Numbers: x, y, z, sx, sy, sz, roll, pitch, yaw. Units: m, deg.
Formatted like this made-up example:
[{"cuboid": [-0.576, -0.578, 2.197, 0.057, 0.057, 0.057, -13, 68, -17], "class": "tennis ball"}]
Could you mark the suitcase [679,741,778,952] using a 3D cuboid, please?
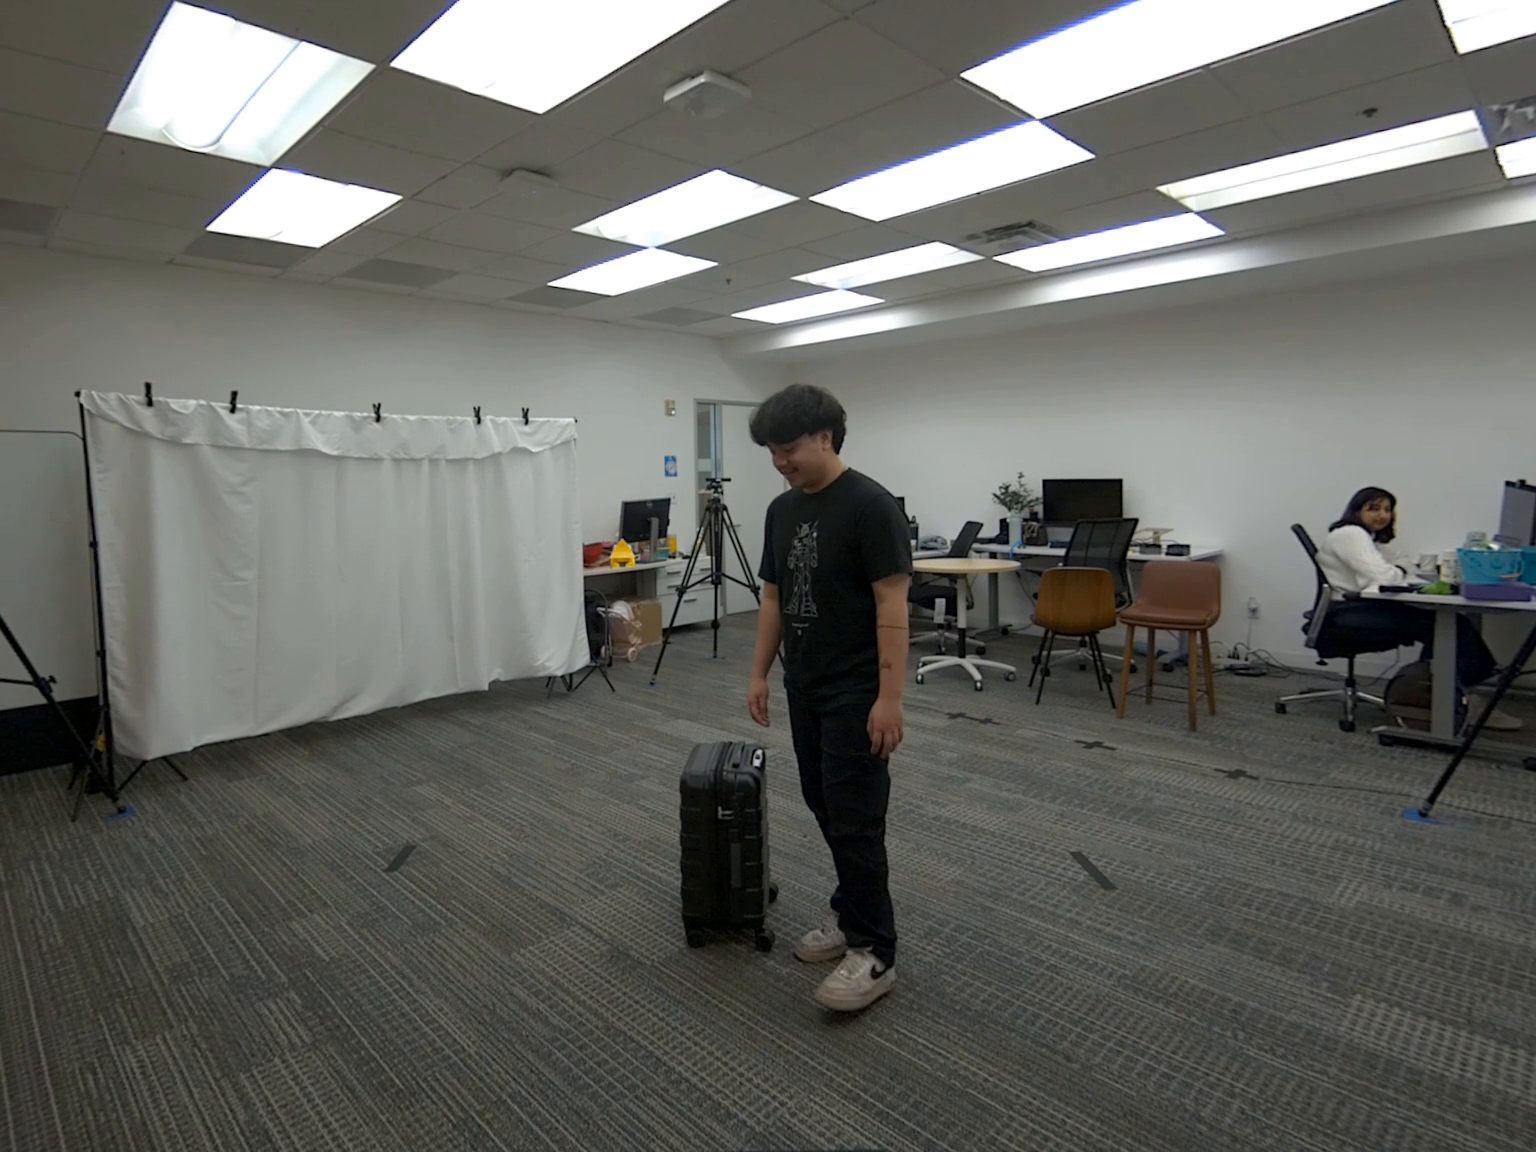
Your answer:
[{"cuboid": [-0.124, 0.815, 2.681, 0.249, 0.547, 0.375, -2, 5, 4], "class": "suitcase"}]
